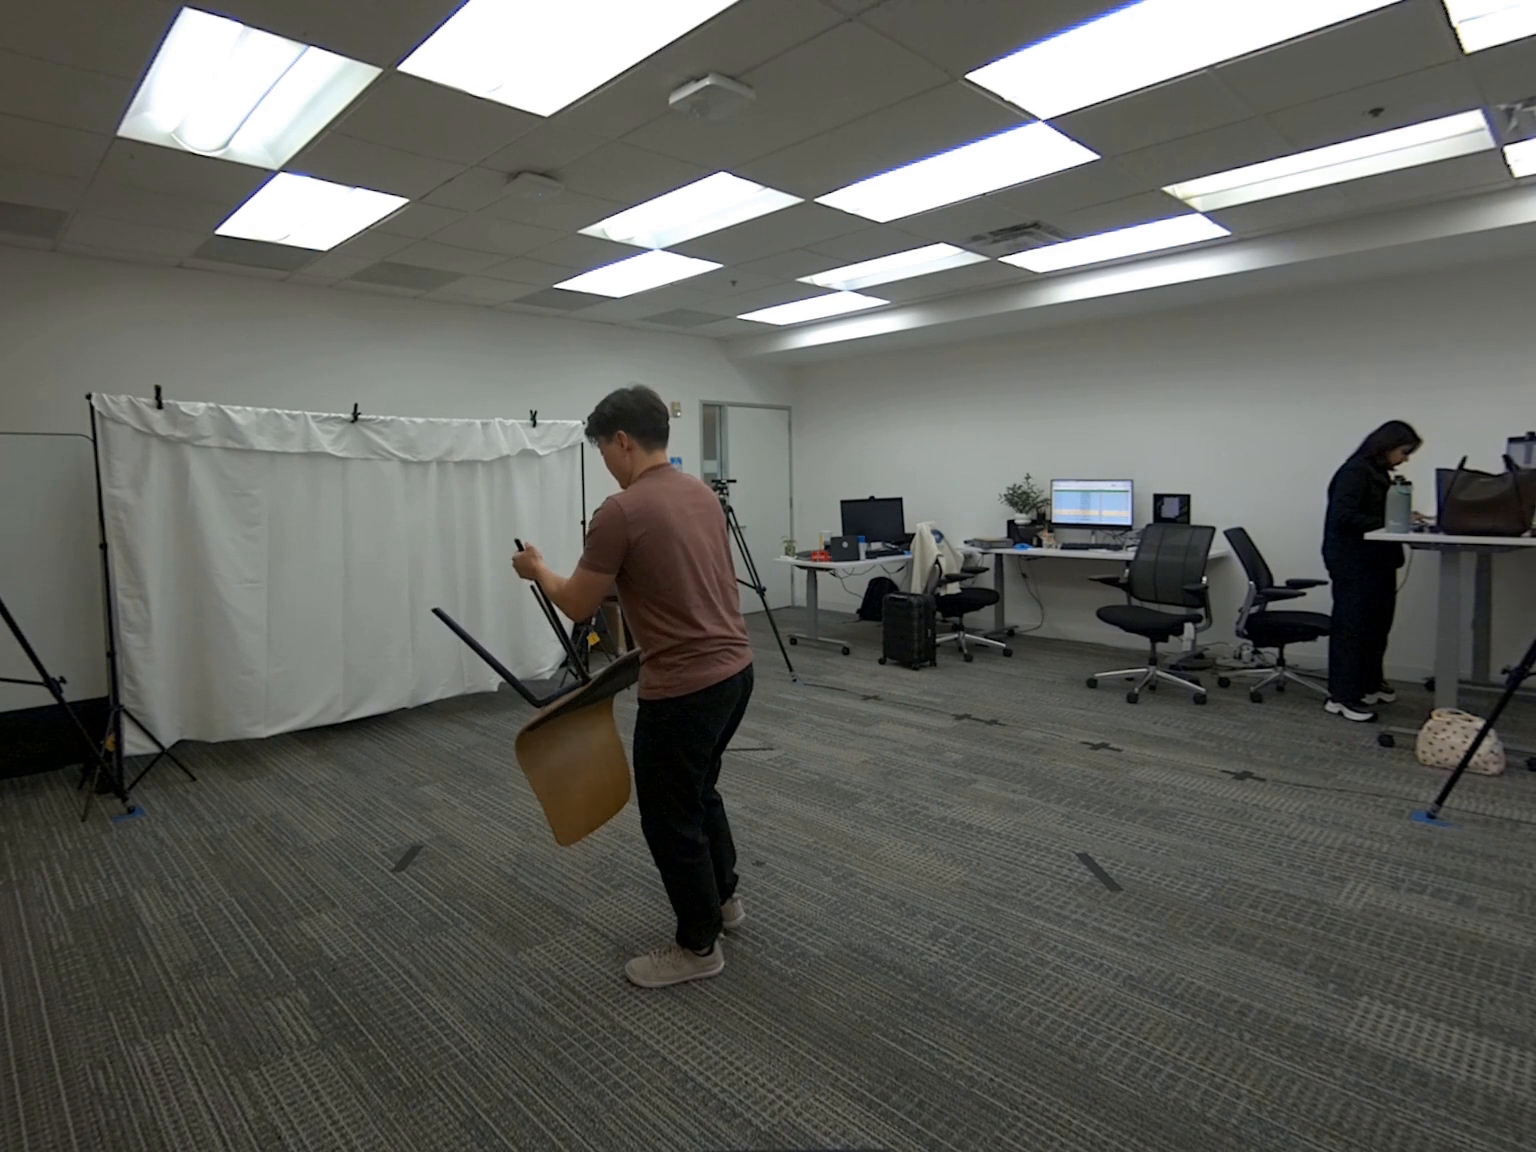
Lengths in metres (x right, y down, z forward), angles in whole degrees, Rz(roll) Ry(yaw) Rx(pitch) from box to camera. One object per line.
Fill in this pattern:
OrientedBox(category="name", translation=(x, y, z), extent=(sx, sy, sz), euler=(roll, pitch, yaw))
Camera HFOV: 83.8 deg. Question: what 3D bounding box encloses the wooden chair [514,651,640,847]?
OrientedBox(category="wooden chair", translation=(-0.565, 0.333, 2.671), extent=(0.528, 0.886, 0.469), euler=(-30, -8, 30))
